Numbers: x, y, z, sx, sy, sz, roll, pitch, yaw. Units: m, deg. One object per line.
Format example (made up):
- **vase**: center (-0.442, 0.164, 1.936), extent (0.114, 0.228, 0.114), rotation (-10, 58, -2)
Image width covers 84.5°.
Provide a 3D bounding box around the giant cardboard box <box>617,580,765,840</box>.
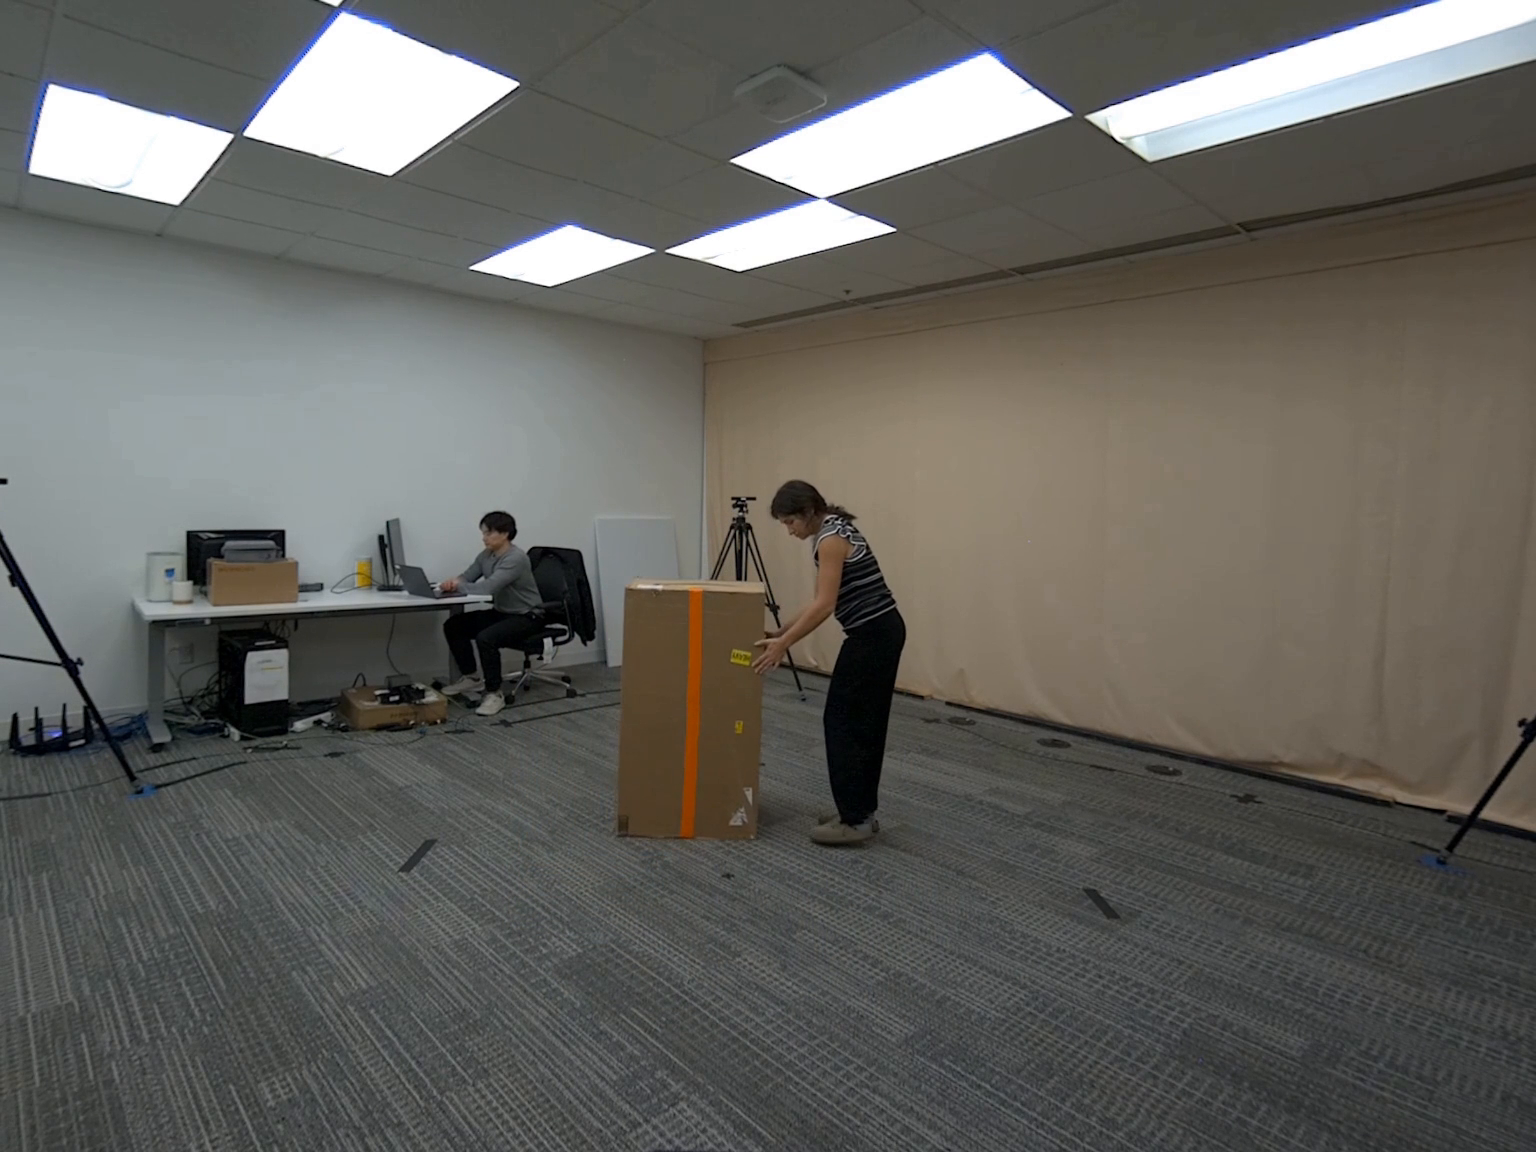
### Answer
- **giant cardboard box**: center (-0.329, 0.547, 3.618), extent (0.577, 1.023, 0.427), rotation (2, 3, -1)
